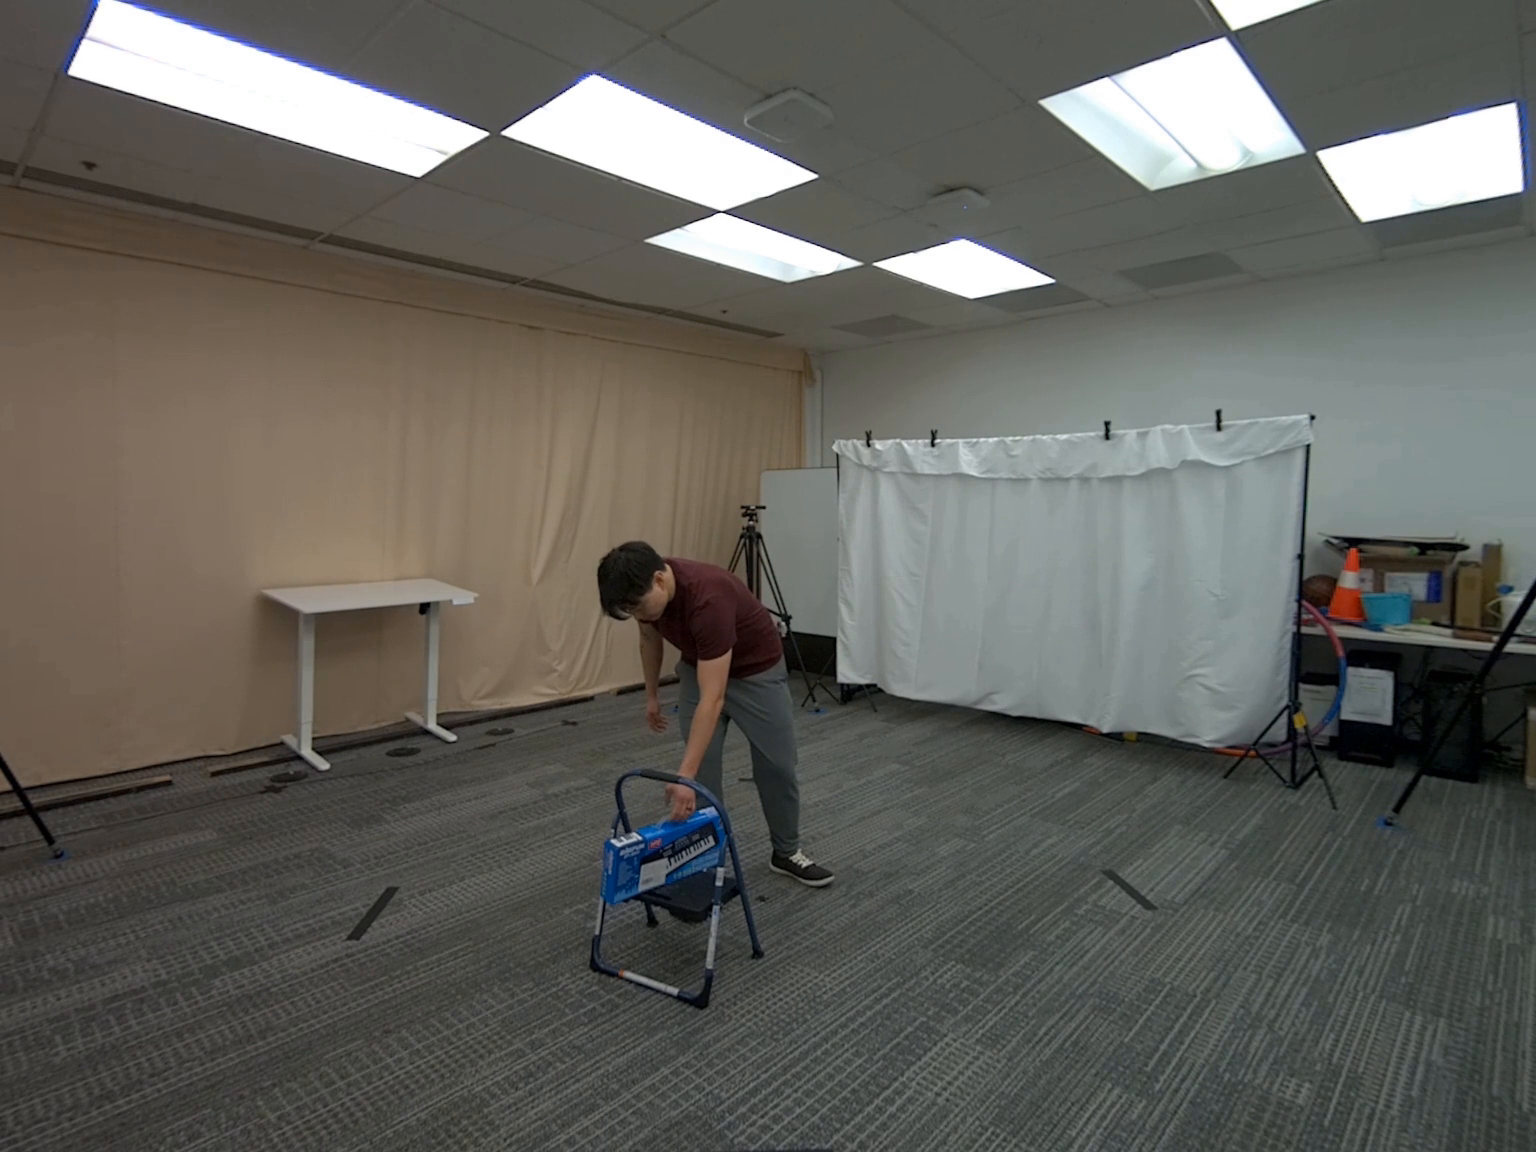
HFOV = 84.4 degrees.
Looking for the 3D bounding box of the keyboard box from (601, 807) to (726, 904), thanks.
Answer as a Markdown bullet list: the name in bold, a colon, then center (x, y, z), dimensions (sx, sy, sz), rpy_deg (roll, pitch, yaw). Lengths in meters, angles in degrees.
- **keyboard box**: center (-0.299, 0.829, 2.538), dimensions (0.423, 0.175, 0.061), rpy_deg (-4, 13, -44)
